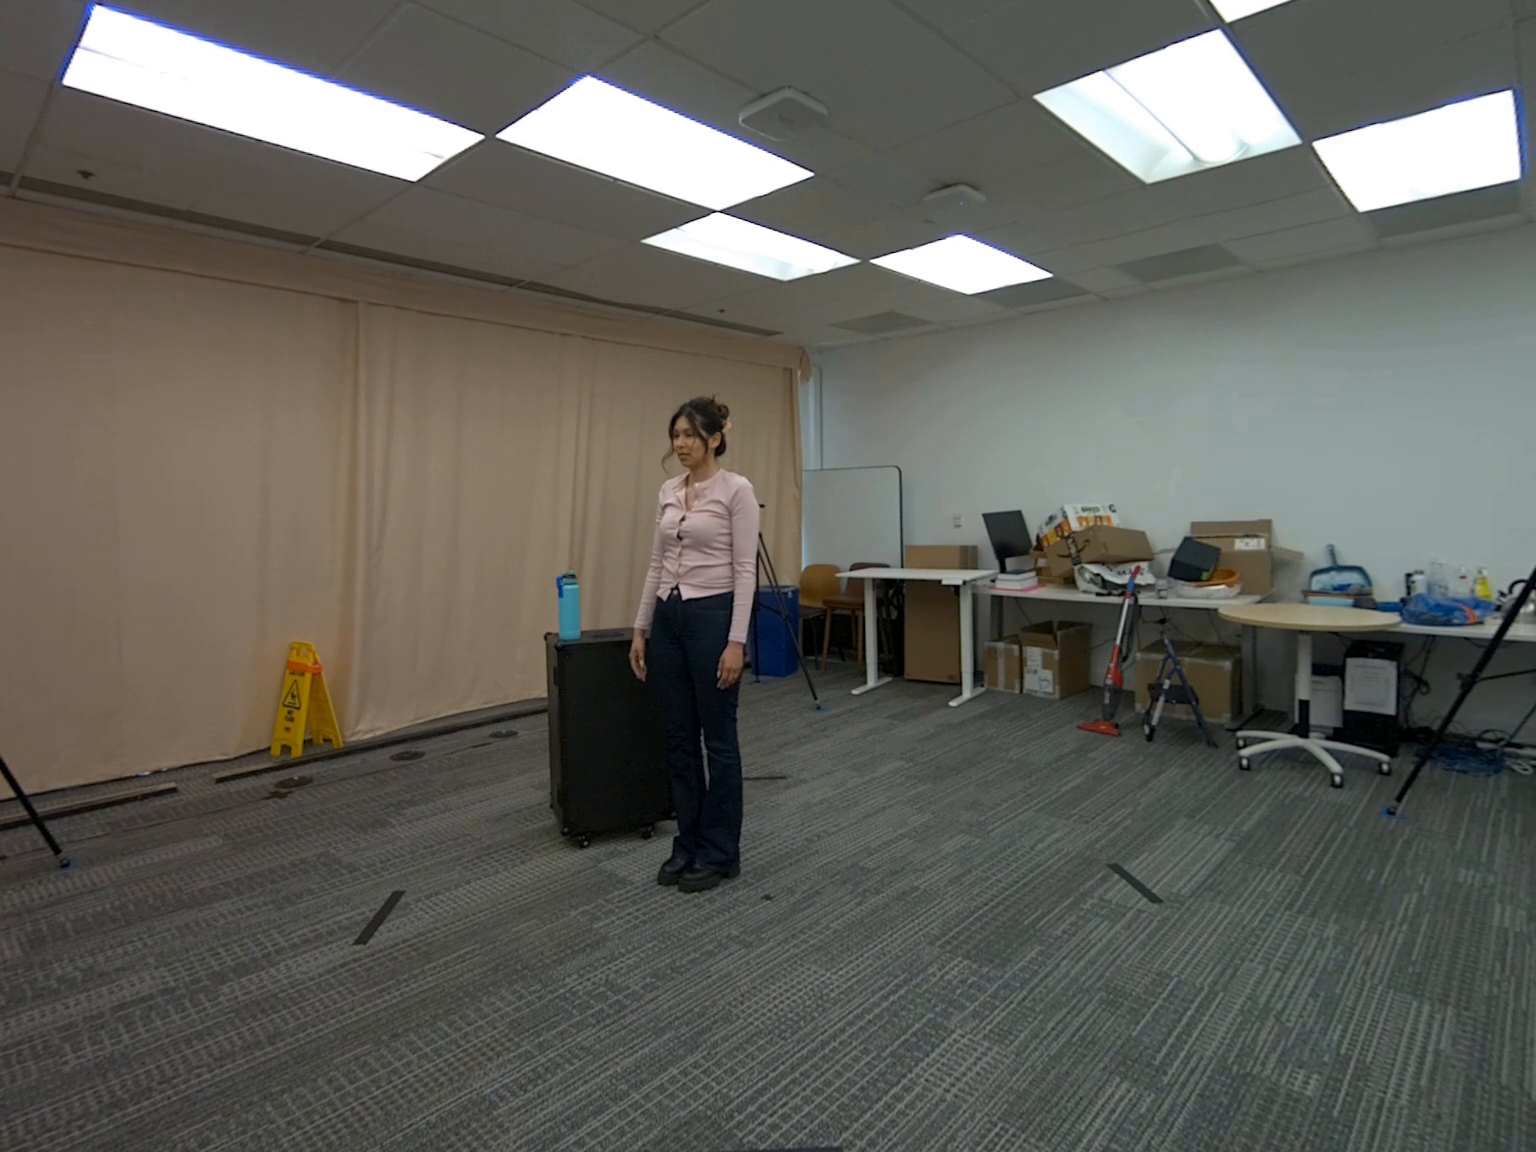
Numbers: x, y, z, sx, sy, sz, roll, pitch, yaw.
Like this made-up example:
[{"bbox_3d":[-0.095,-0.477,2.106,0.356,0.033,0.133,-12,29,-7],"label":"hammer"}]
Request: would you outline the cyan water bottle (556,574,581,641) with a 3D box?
[{"bbox_3d":[-0.845,0.122,3.547,0.092,0.283,0.092,-2,3,-2],"label":"cyan water bottle"}]
